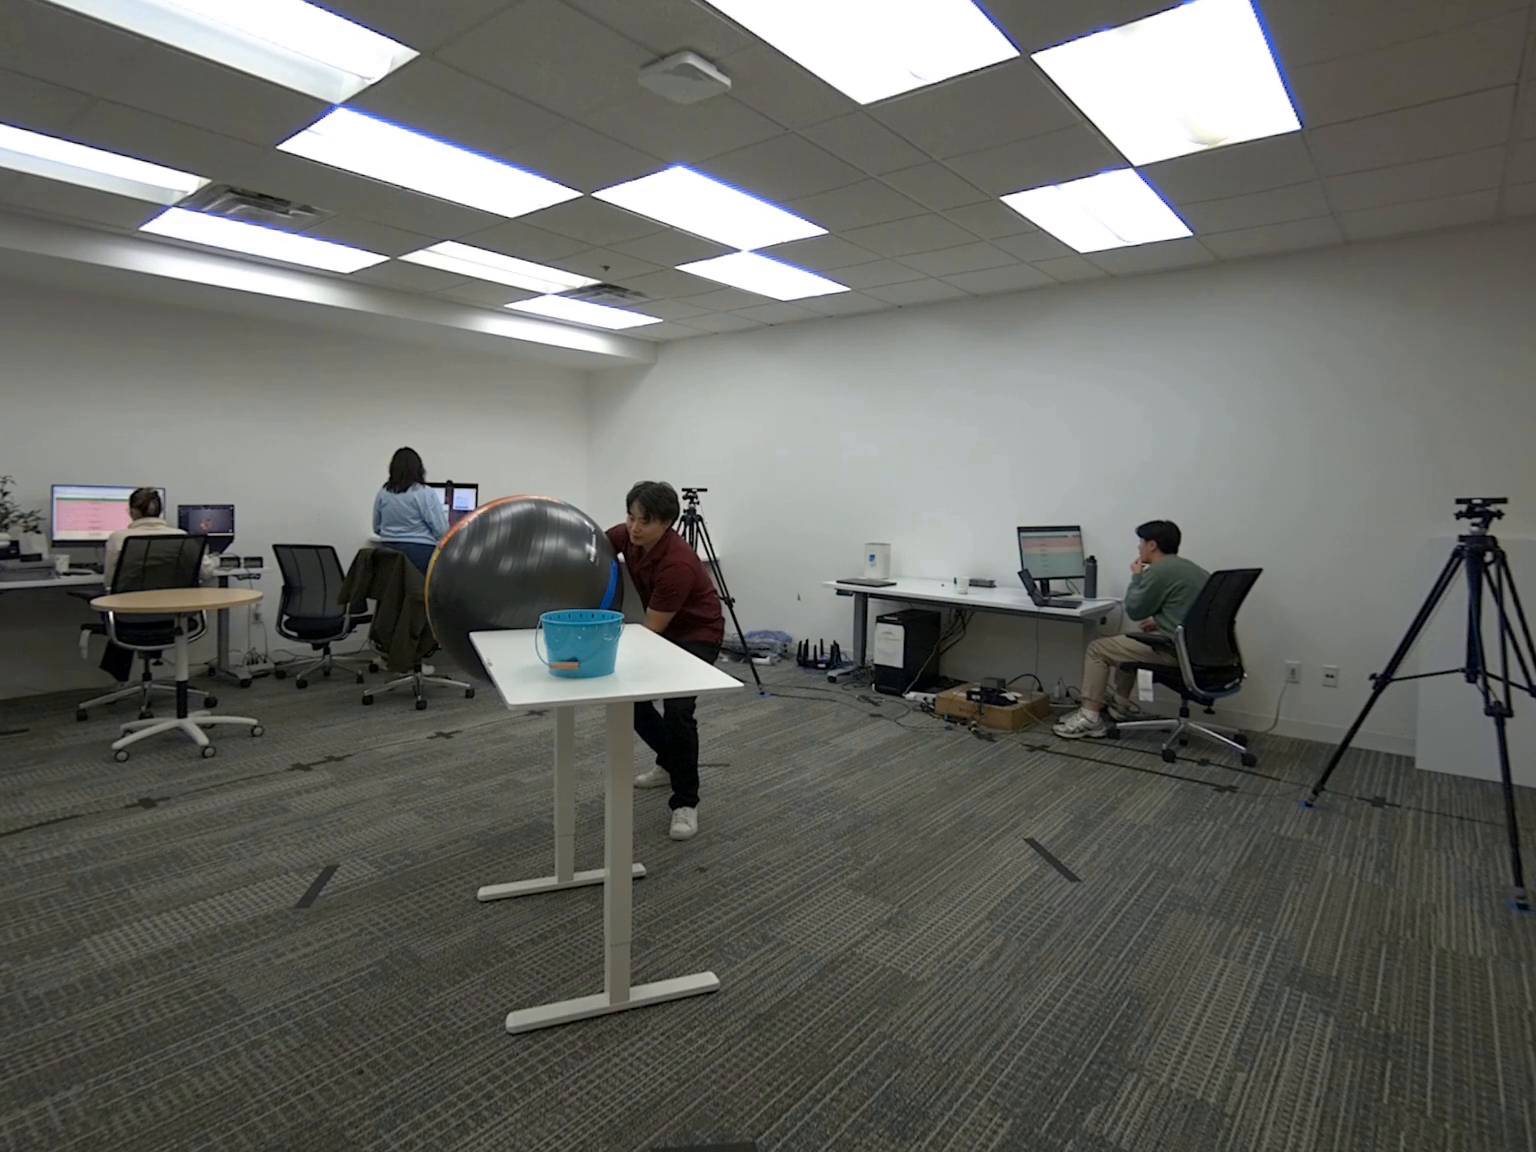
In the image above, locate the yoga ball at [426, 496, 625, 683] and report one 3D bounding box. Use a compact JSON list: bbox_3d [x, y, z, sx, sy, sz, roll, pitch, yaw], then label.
[{"bbox_3d":[-0.973,0.064,3.342,0.757,0.756,0.762,1,4,-2],"label":"yoga ball"}]
